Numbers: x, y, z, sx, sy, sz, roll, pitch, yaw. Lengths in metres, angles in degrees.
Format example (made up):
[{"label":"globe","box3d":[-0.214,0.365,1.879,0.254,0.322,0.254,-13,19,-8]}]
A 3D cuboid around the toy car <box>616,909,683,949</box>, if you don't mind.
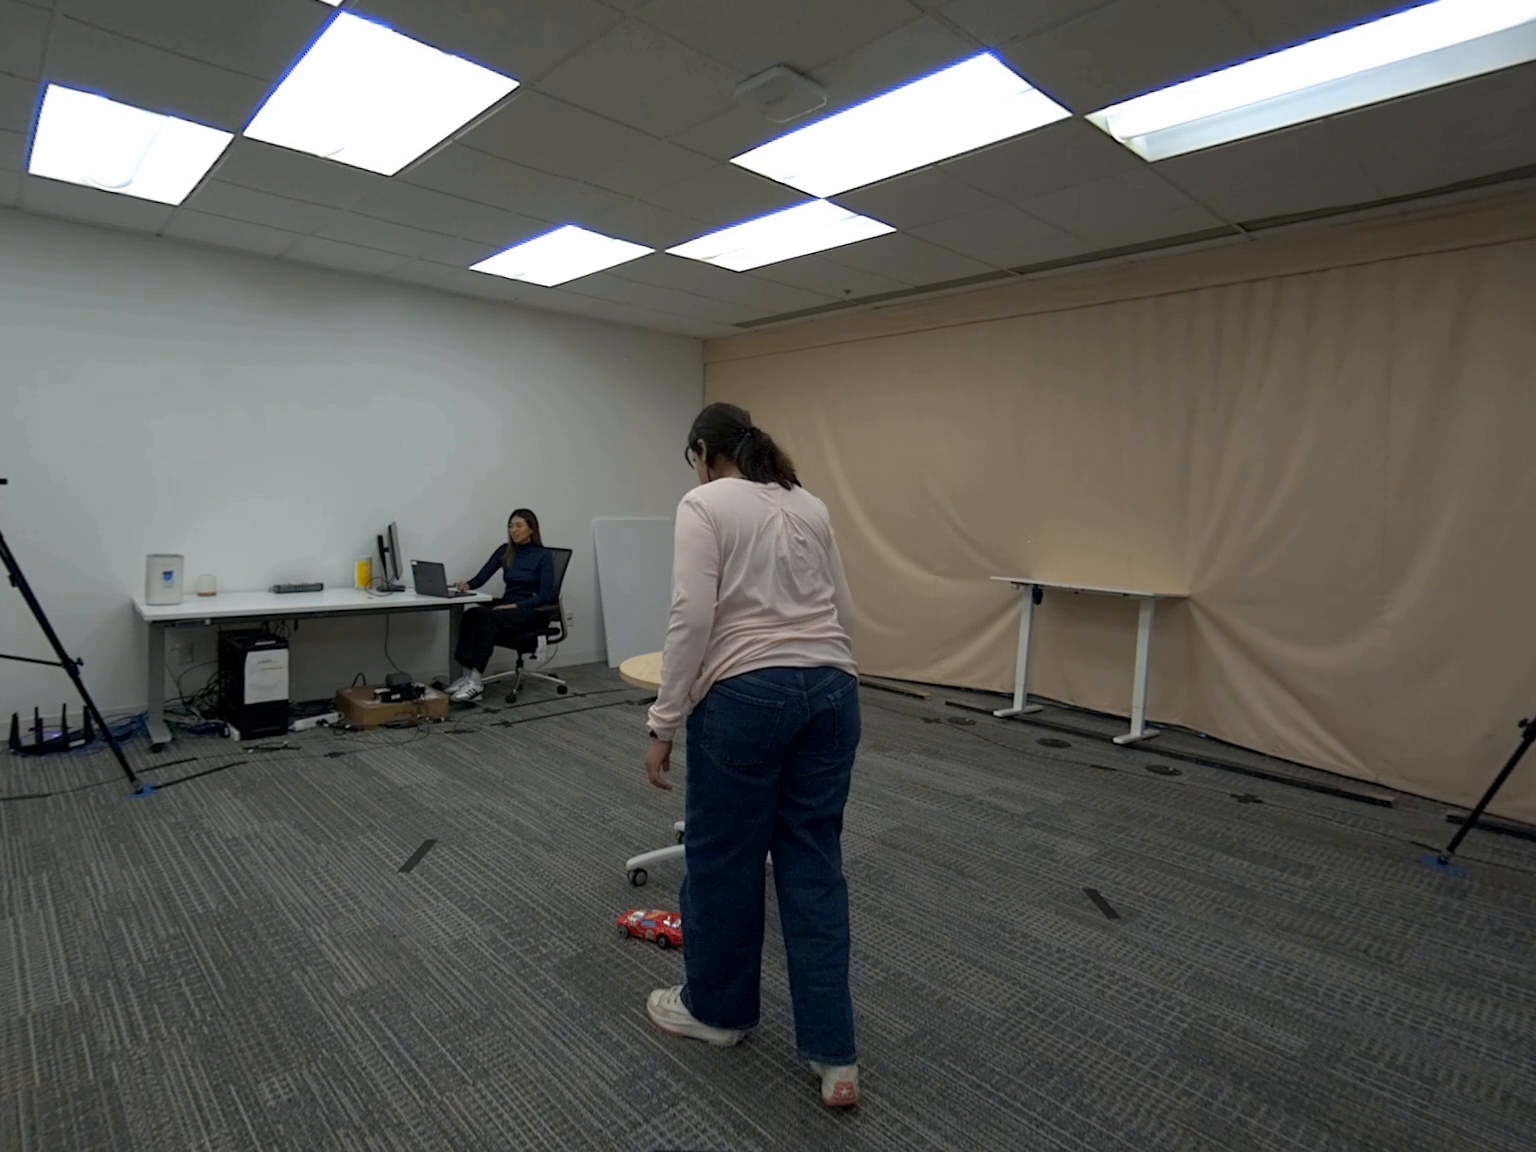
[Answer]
[{"label":"toy car","box3d":[-0.352,1.108,2.657,0.258,0.083,0.128,-8,0,24]}]
